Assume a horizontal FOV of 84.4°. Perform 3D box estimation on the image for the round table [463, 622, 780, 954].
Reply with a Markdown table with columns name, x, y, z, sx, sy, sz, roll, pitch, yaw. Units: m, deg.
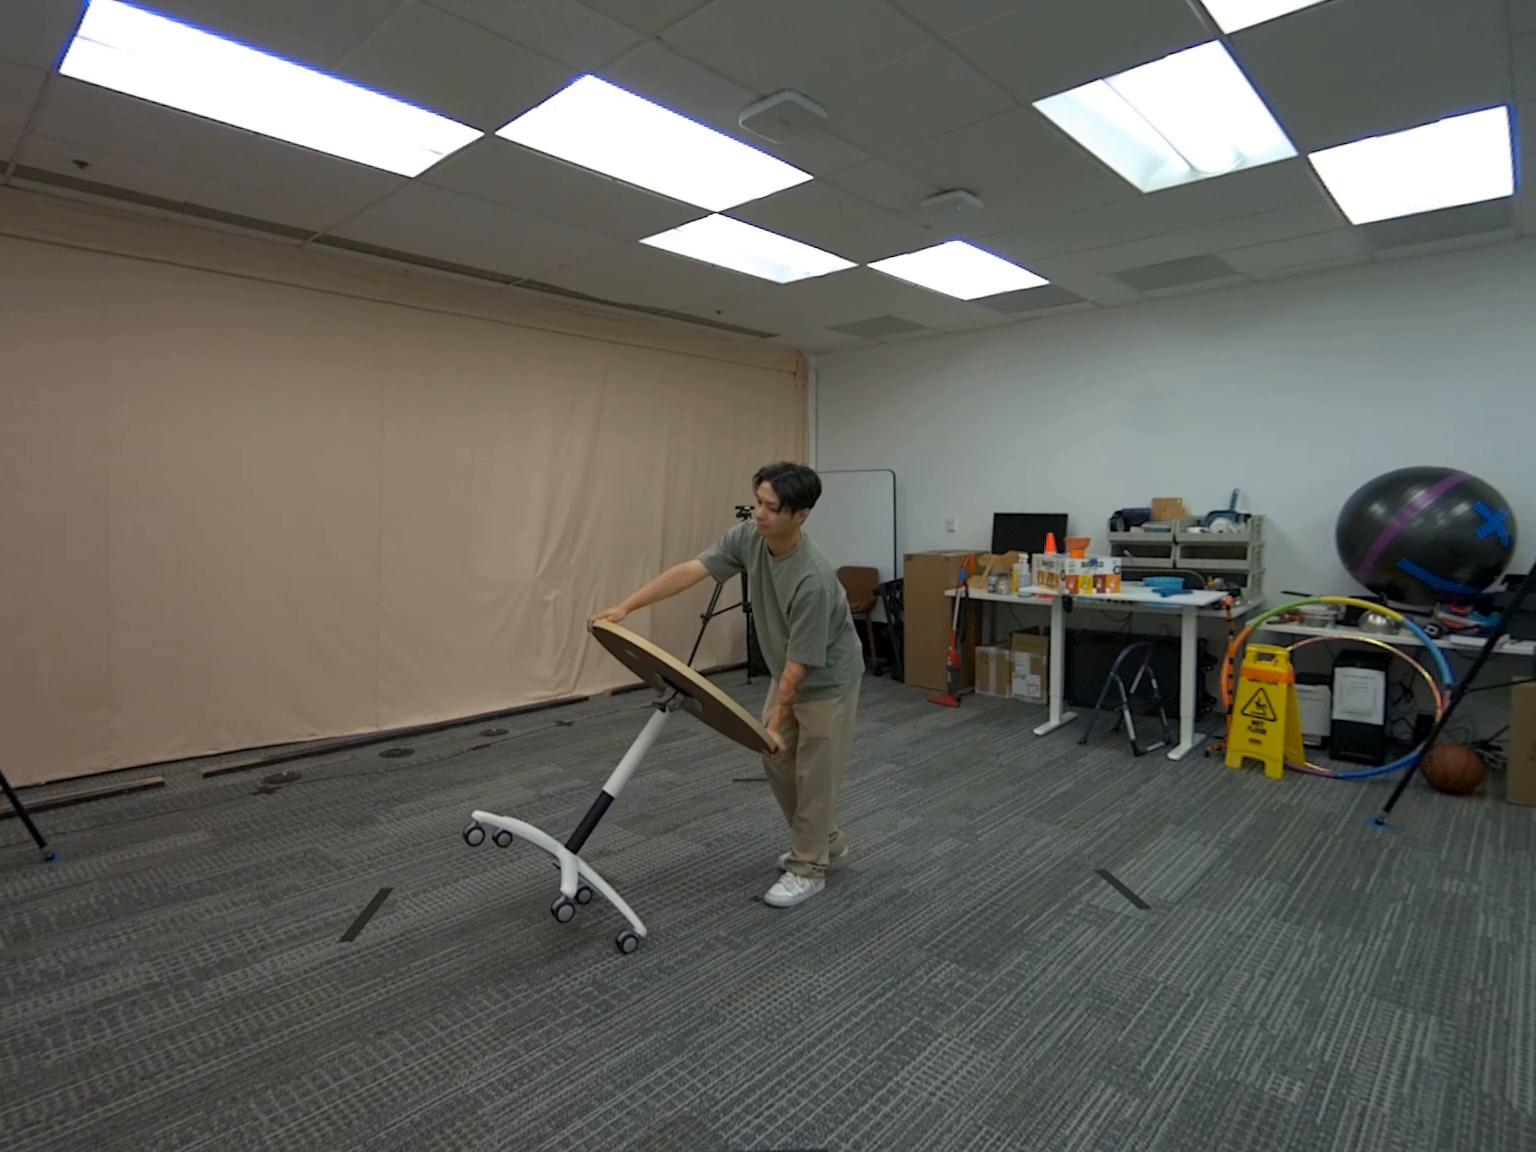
| name | x | y | z | sx | sy | sz | roll | pitch | yaw |
| --- | --- | --- | --- | --- | --- | --- | --- | --- | --- |
| round table | -0.518 | 0.689 | 2.822 | 0.795 | 0.785 | 0.777 | 32 | -16 | 8 |
